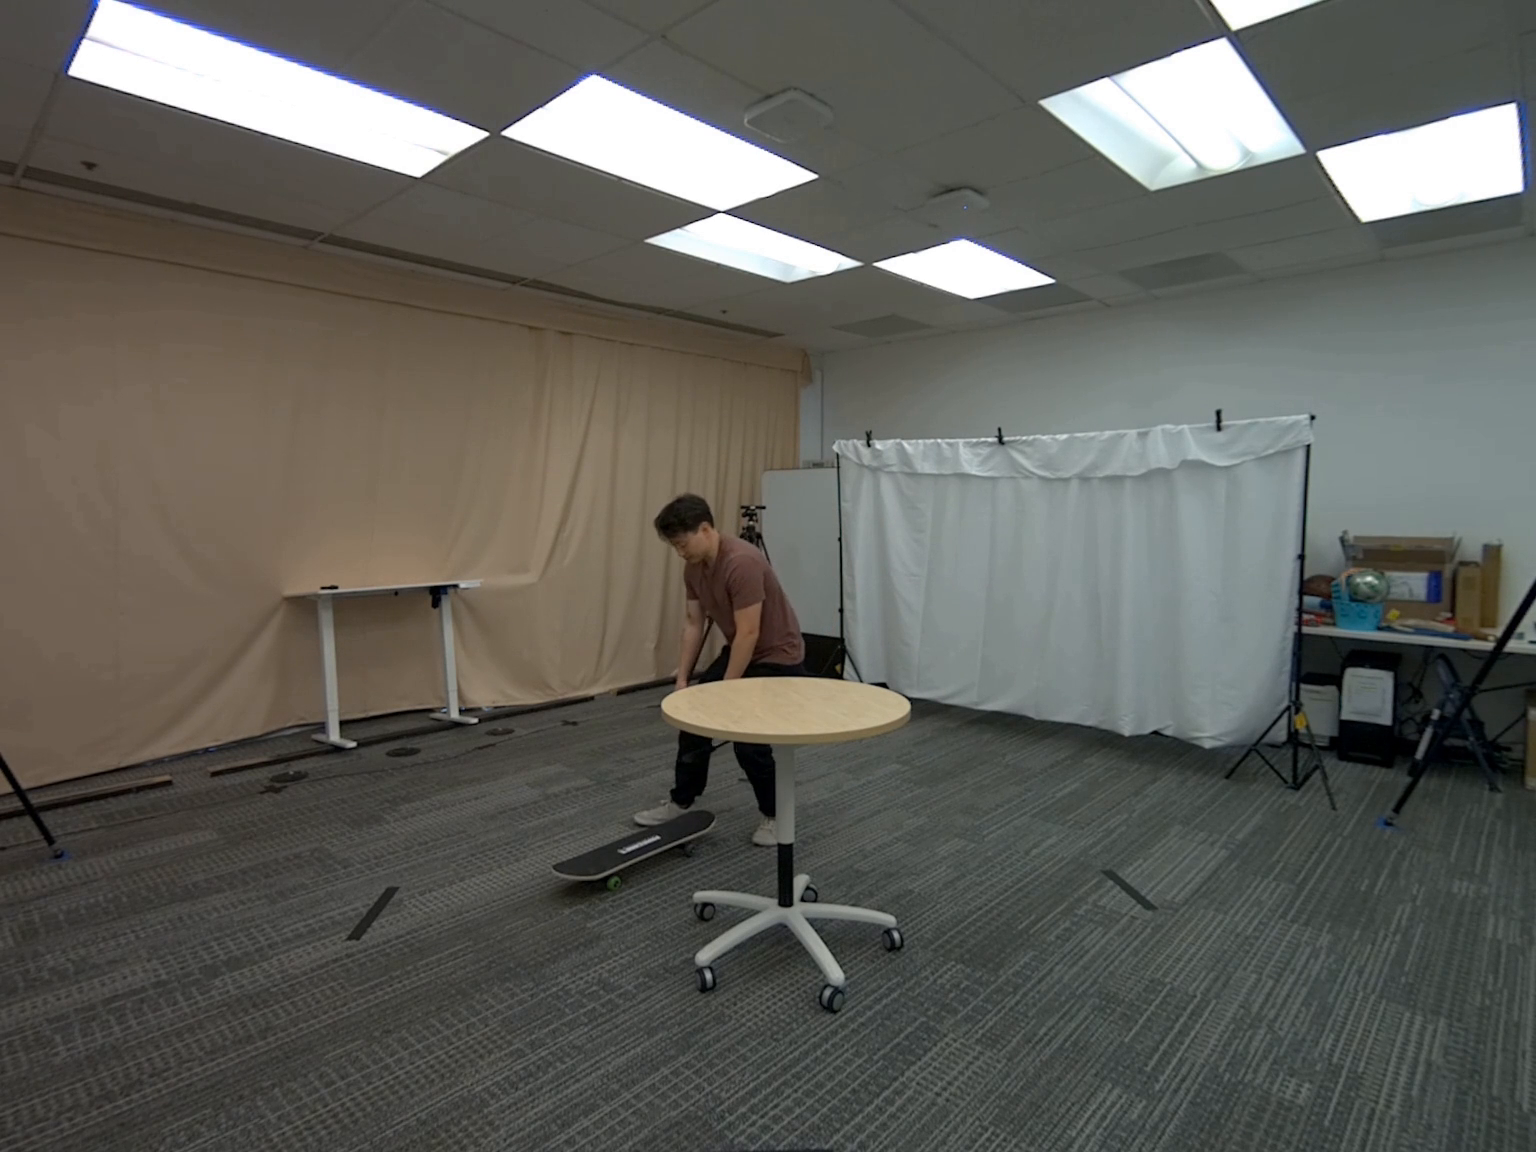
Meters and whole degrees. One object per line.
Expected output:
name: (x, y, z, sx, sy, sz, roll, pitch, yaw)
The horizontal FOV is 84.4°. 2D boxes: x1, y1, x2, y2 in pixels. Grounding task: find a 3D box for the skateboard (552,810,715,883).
skateboard: (-0.503, 1.073, 3.251, 0.200, 0.110, 0.762, 2, 5, 41)
